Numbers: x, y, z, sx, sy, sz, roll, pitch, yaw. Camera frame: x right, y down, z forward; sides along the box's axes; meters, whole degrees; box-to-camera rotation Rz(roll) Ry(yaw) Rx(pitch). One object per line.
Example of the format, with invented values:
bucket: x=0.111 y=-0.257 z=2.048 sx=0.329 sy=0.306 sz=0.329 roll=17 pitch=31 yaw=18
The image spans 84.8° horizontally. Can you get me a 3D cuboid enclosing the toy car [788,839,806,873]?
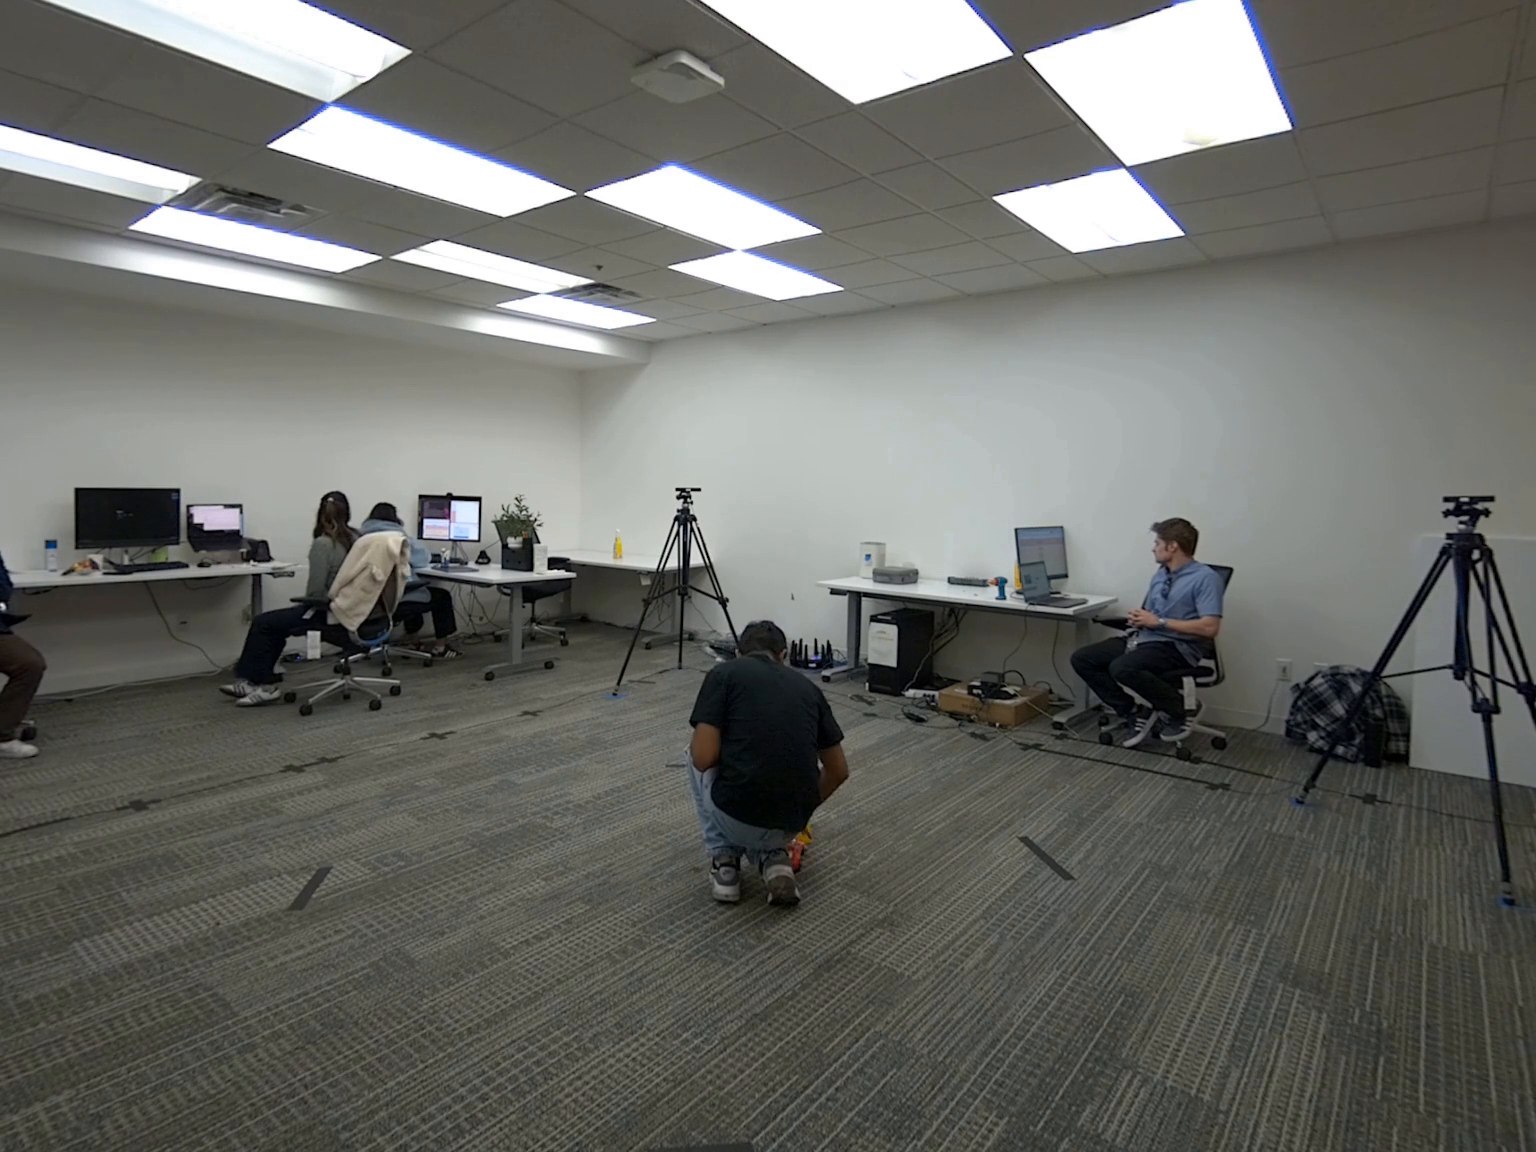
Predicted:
toy car: x=0.073 y=1.038 z=3.180 sx=0.131 sy=0.083 sz=0.252 roll=4 pitch=-2 yaw=3
